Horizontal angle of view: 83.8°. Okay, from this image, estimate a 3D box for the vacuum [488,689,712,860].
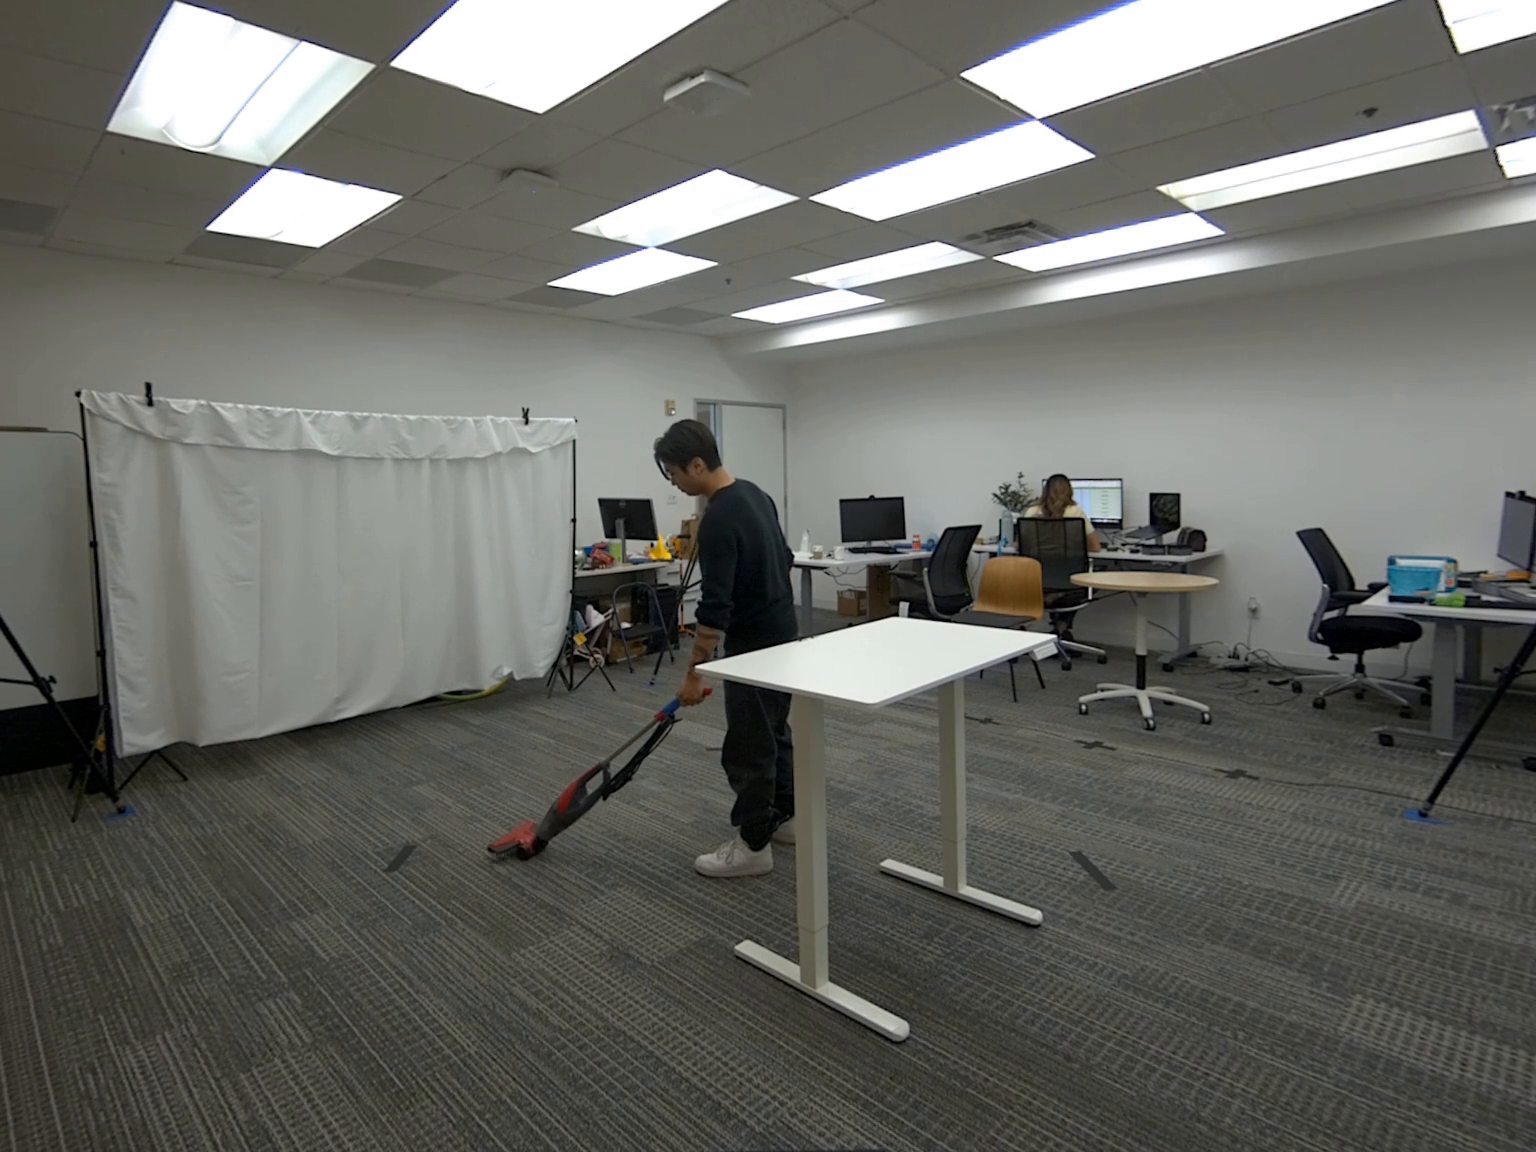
[{"bbox_3d":[-0.564,0.705,3.042,1.052,0.146,0.248,-40,-9,22],"label":"vacuum"}]
